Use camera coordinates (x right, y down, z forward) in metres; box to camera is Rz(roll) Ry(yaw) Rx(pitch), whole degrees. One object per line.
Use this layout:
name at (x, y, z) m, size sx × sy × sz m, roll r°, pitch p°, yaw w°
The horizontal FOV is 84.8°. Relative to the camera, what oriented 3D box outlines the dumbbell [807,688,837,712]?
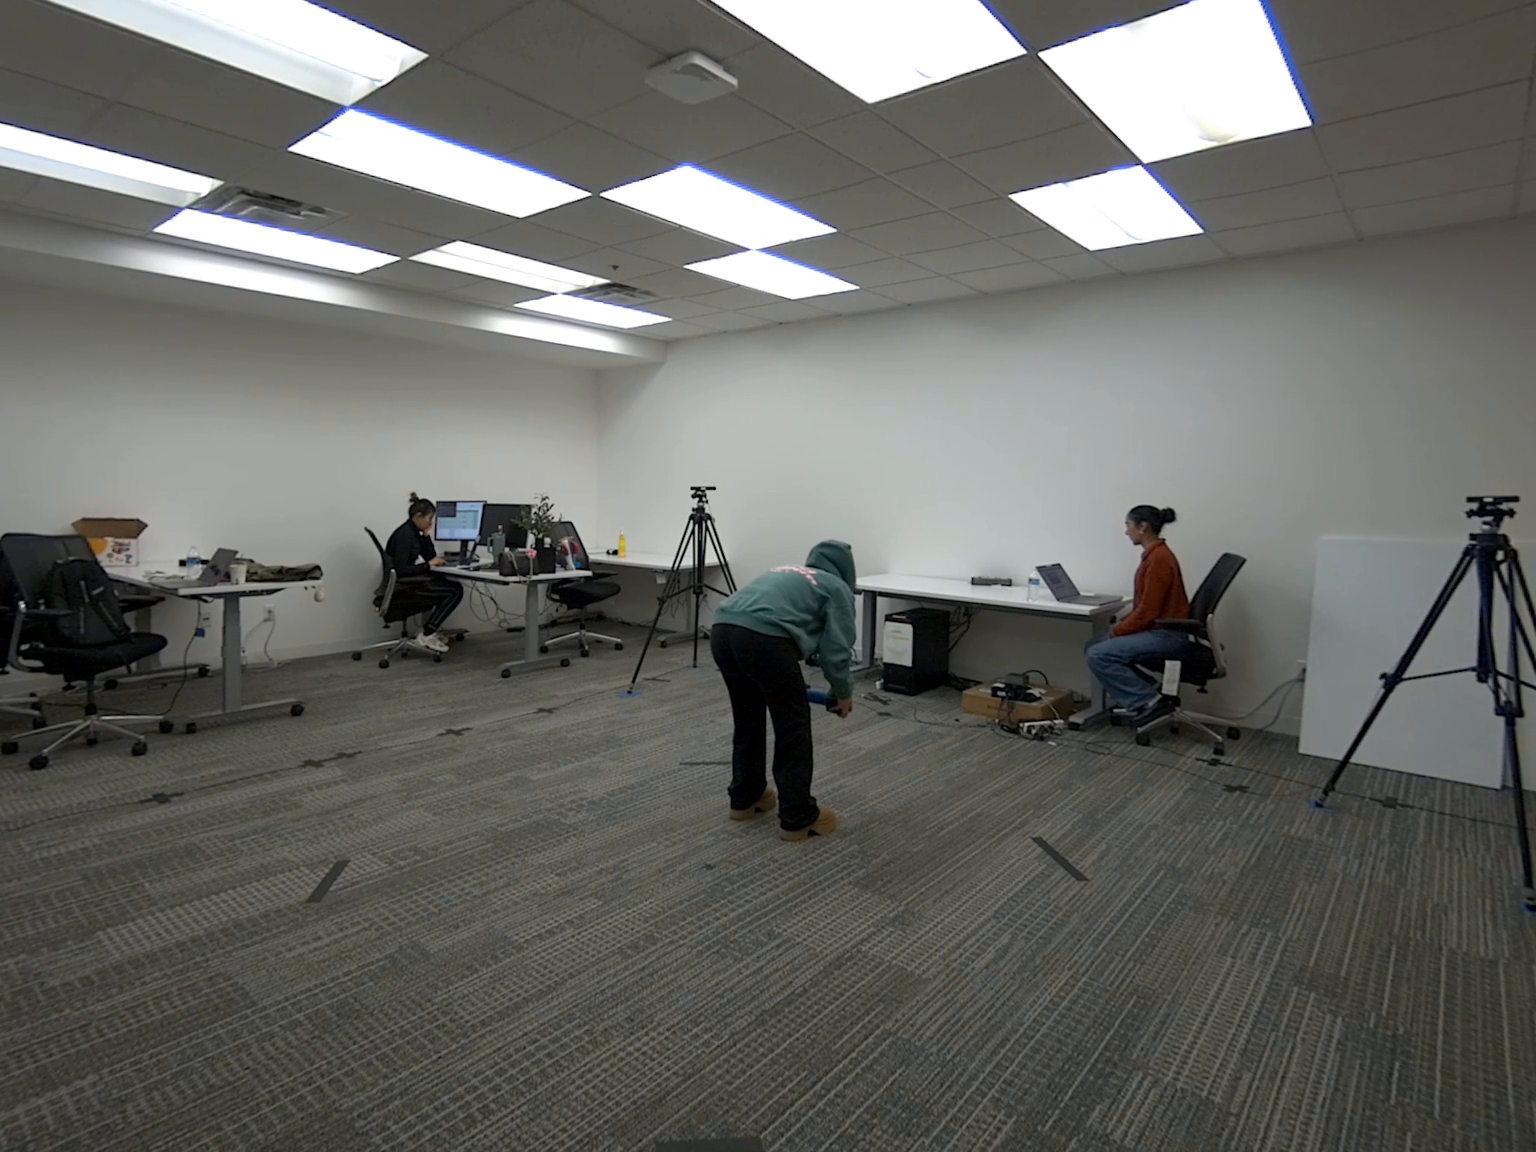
dumbbell at (0.206, 0.530, 3.701) m, size 0.303 × 0.121 × 0.106 m, roll 5°, pitch 14°, yaw 37°
